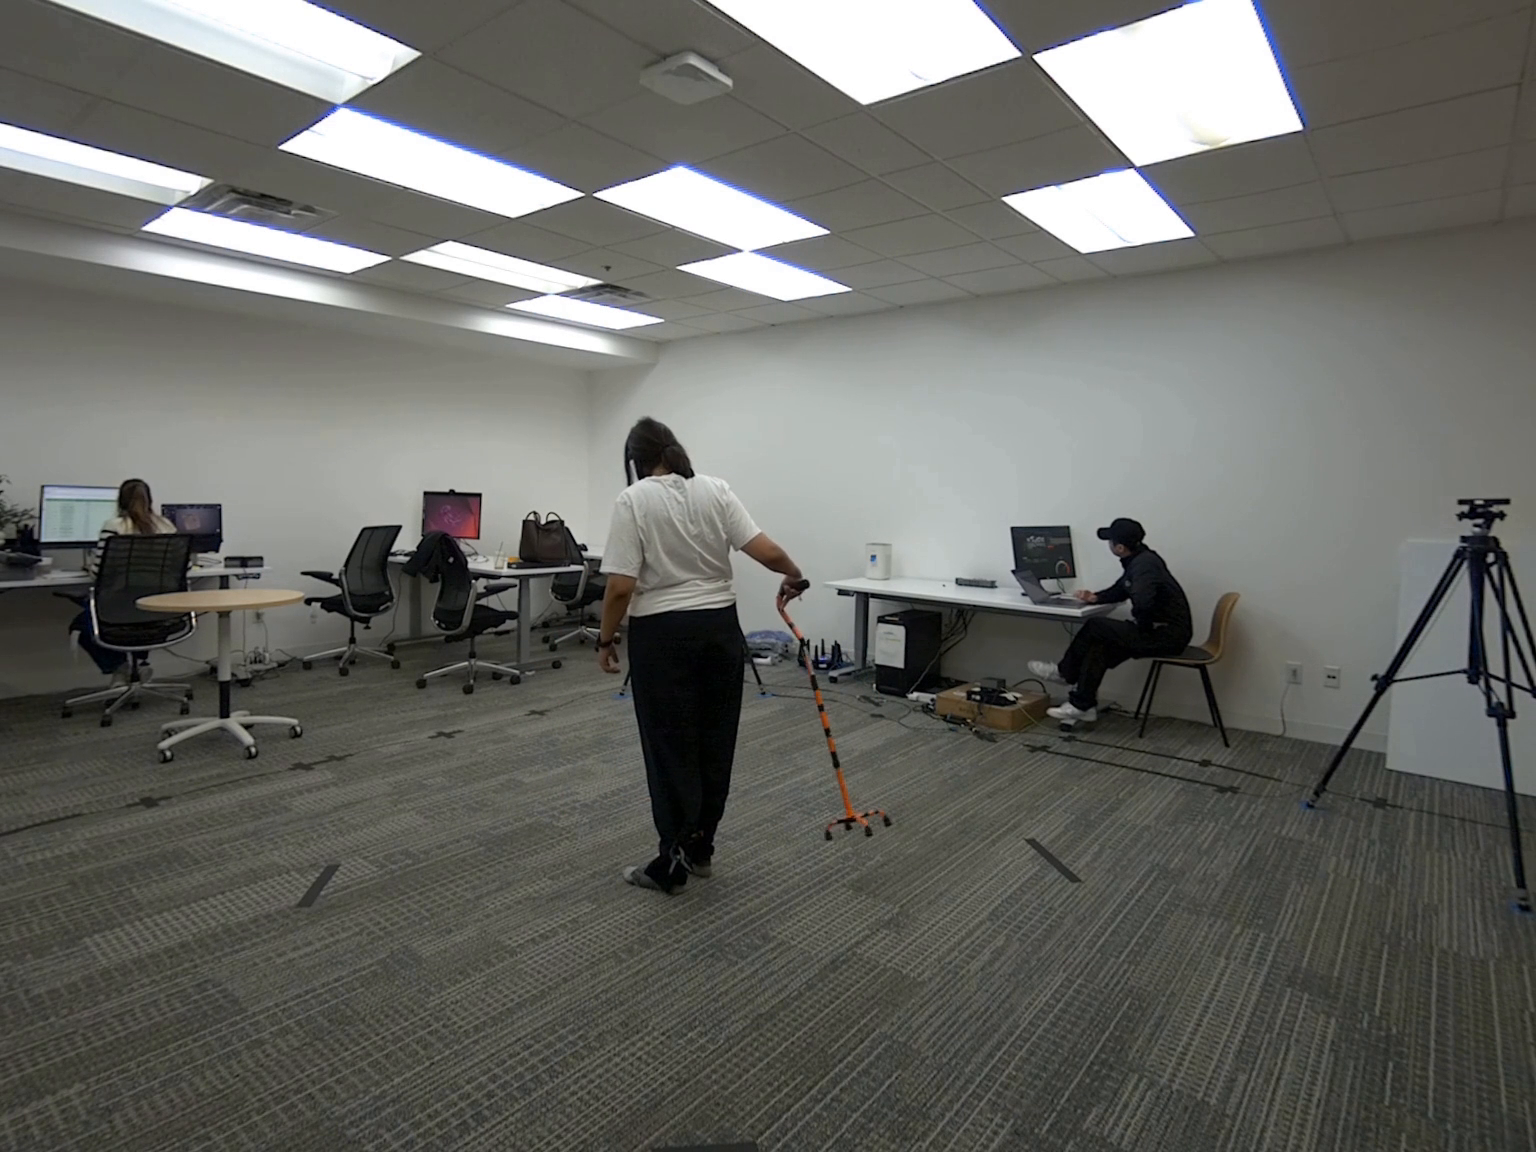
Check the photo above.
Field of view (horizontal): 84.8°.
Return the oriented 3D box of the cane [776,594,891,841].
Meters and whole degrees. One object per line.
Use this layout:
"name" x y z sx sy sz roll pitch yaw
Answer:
"cane" 0.192 0.477 3.102 0.210 0.918 0.147 -23 -12 40
